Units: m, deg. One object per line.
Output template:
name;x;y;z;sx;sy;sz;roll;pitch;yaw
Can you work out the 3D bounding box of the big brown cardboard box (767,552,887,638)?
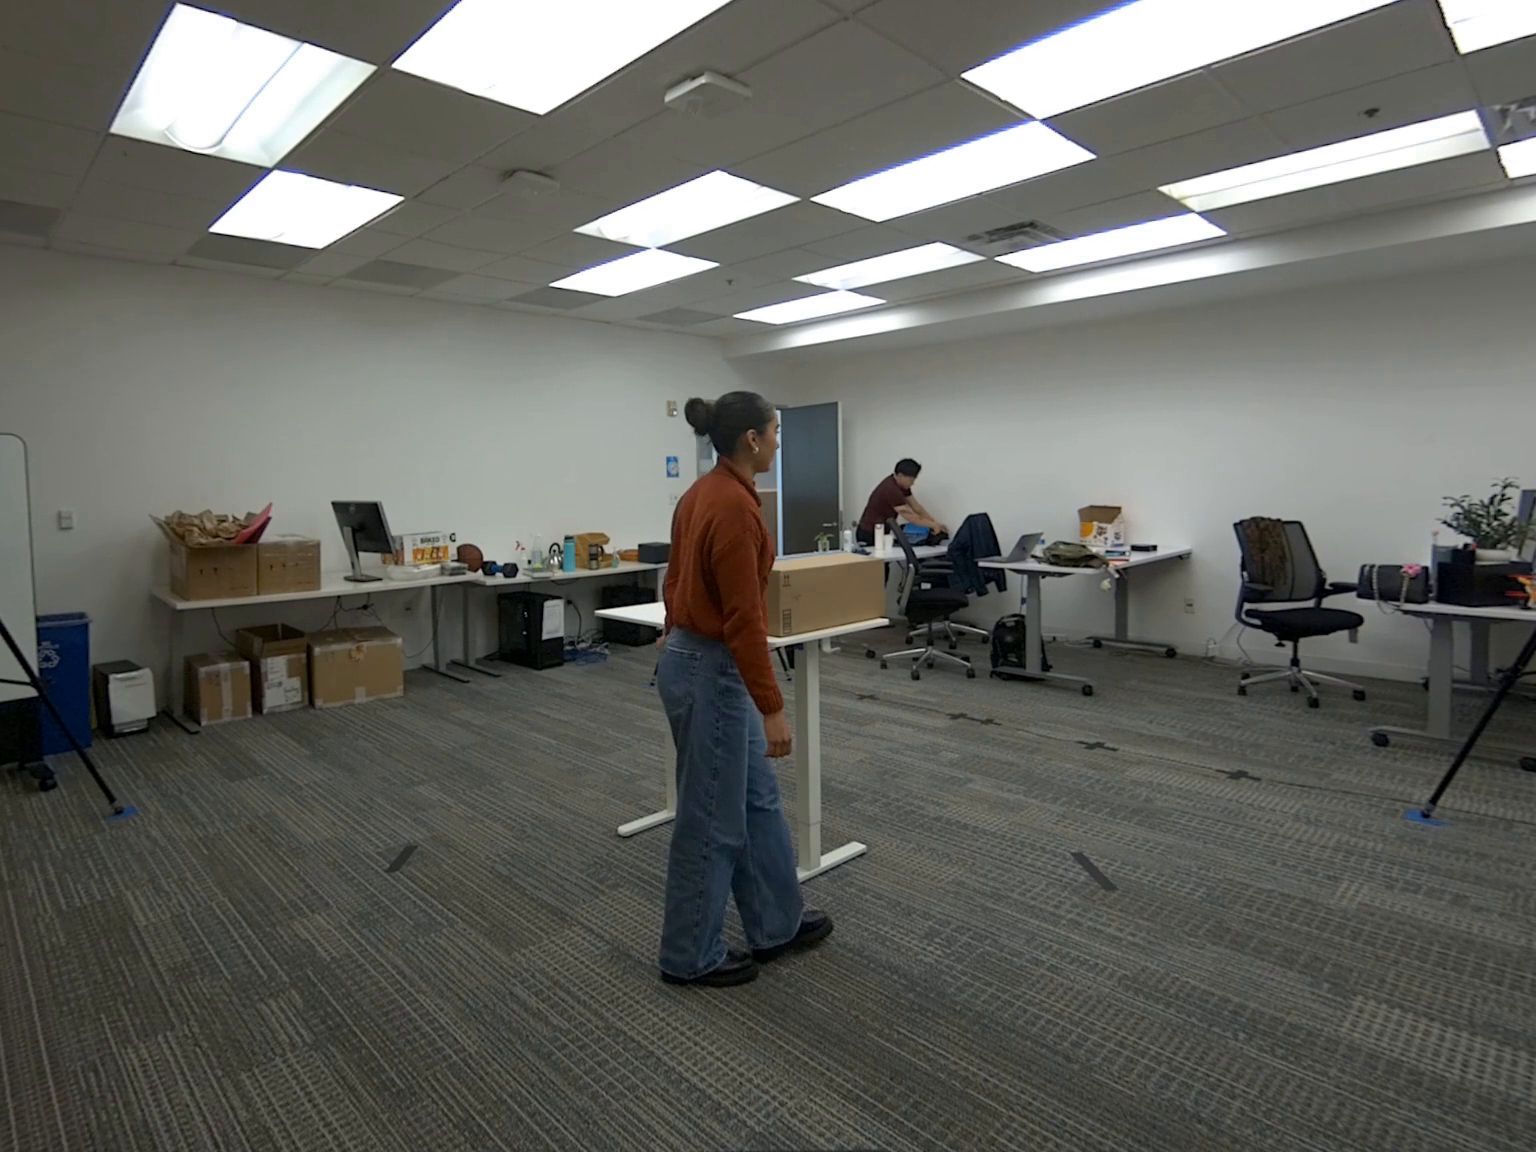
big brown cardboard box;0.089;0.055;3.078;0.430;0.232;0.574;4;8;45
